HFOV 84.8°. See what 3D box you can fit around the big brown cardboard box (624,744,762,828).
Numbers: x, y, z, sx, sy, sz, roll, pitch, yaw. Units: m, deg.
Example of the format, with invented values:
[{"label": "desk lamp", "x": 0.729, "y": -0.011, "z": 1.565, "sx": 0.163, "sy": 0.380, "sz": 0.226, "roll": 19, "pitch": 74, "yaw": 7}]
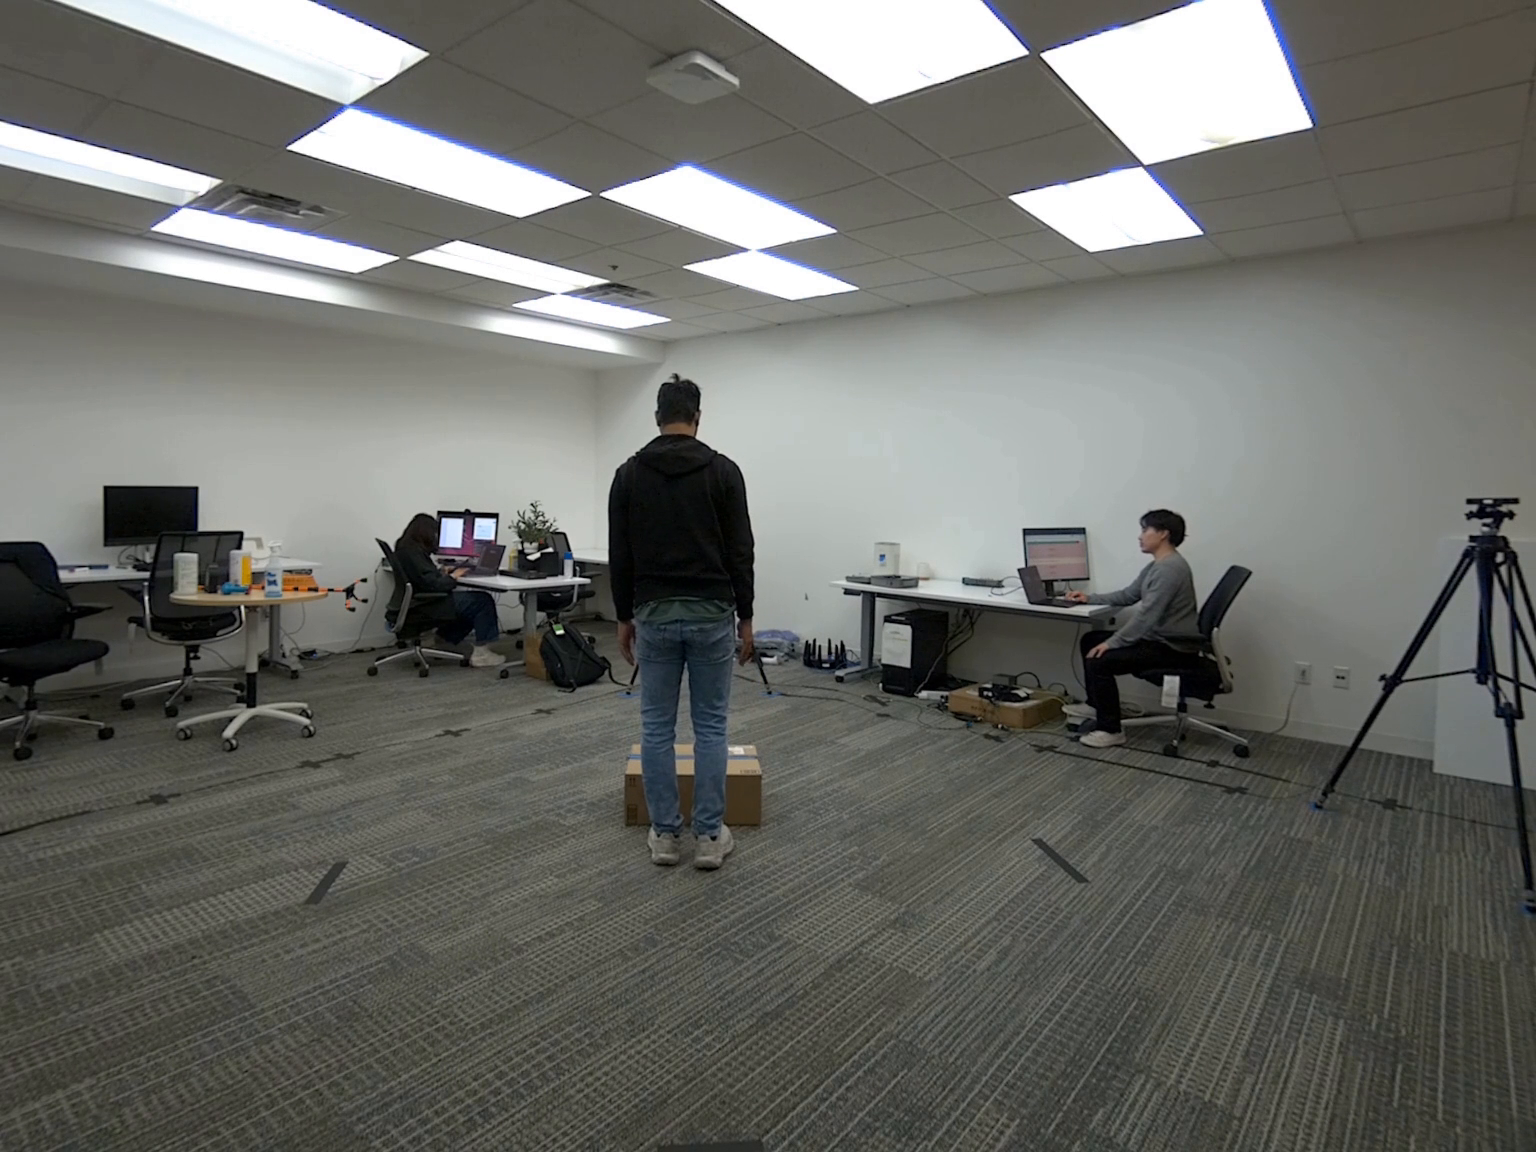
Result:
[{"label": "big brown cardboard box", "x": -0.331, "y": 0.892, "z": 3.700, "sx": 0.587, "sy": 0.232, "sz": 0.421, "roll": 0, "pitch": 5, "yaw": -4}]
